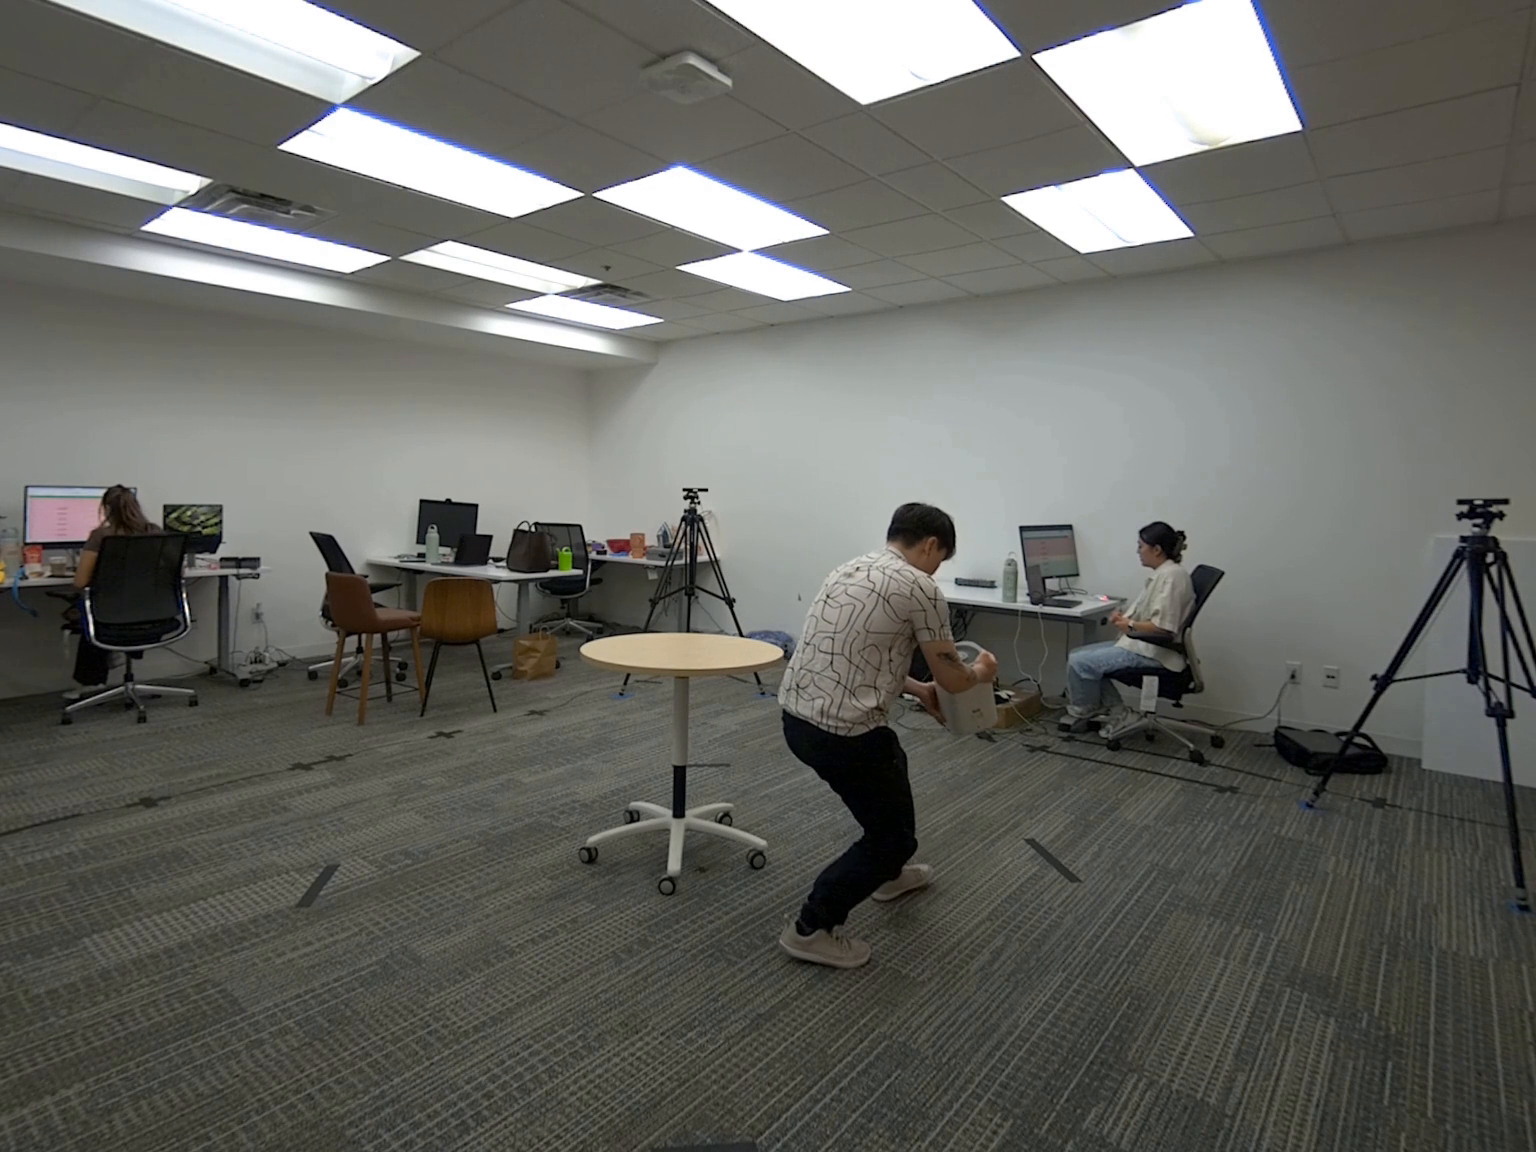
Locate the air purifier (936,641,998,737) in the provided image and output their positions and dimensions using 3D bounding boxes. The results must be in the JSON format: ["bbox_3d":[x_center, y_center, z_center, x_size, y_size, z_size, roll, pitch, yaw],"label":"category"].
[{"bbox_3d":[0.649,0.386,2.880,0.170,0.260,0.176,-16,19,-9],"label":"air purifier"}]
